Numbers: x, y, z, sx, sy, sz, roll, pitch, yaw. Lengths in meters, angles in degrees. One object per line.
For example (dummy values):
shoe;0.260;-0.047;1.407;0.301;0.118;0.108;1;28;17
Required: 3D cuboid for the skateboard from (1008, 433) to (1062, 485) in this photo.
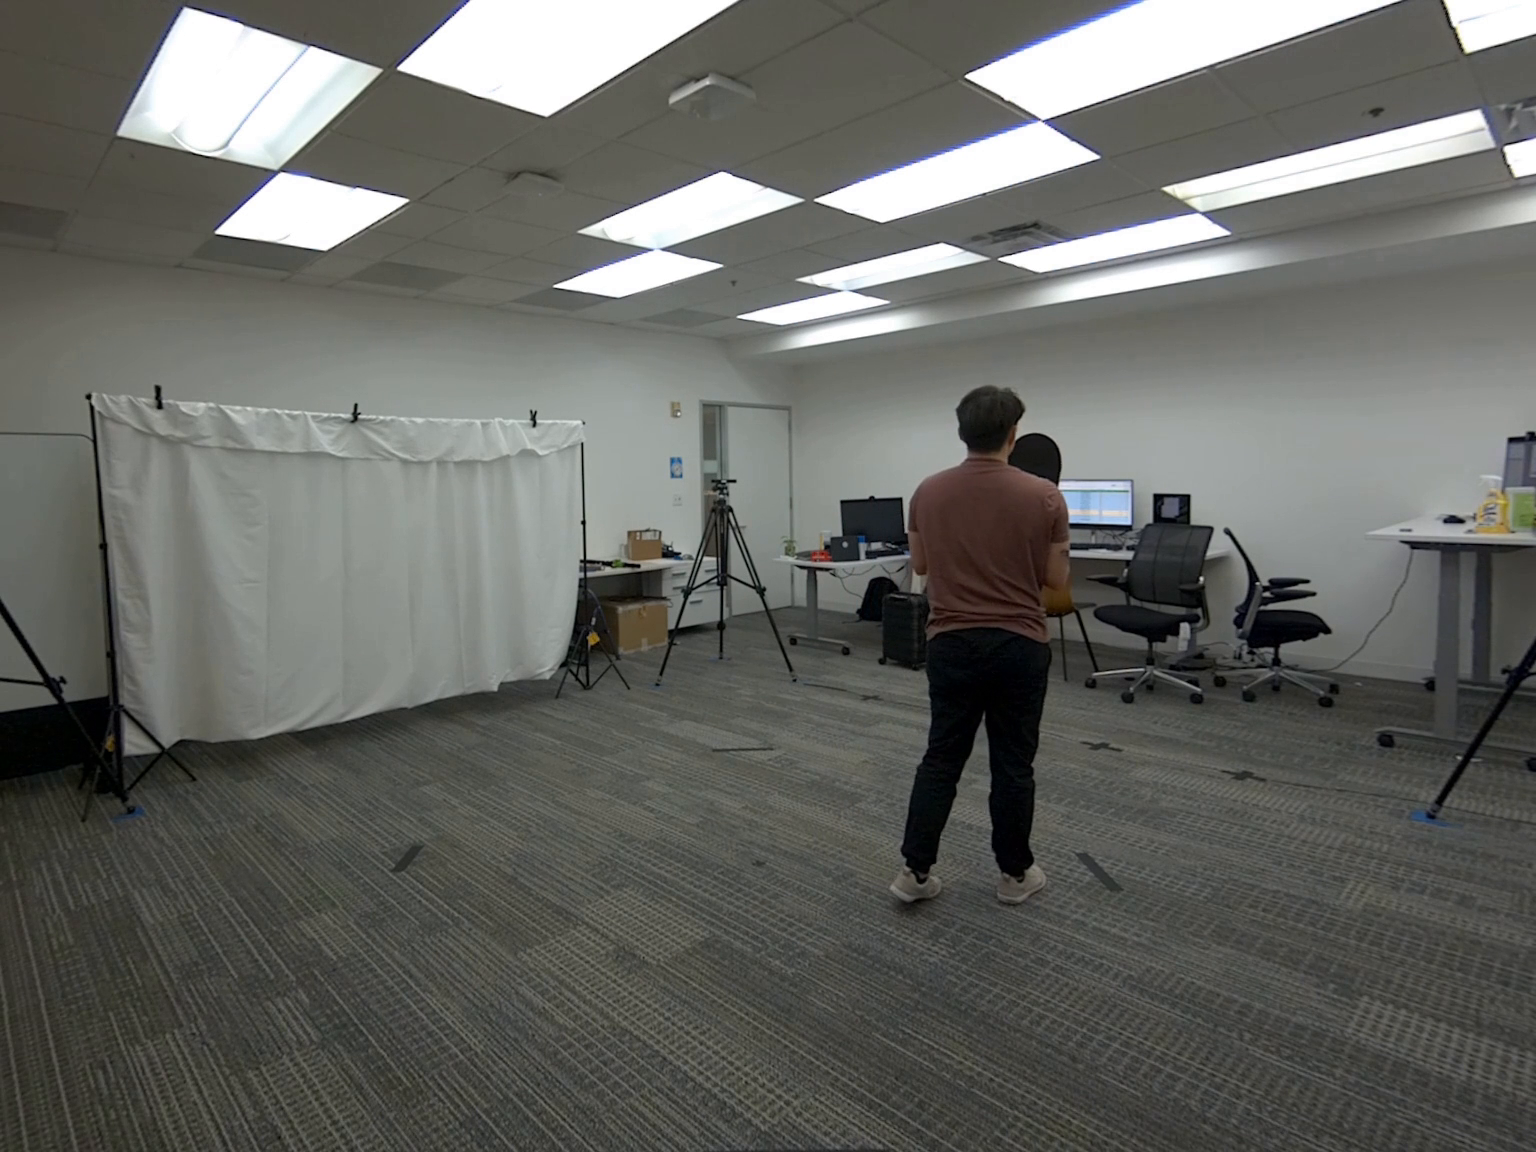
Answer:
skateboard;0.895;-0.120;3.065;0.197;0.781;0.109;10;8;16
